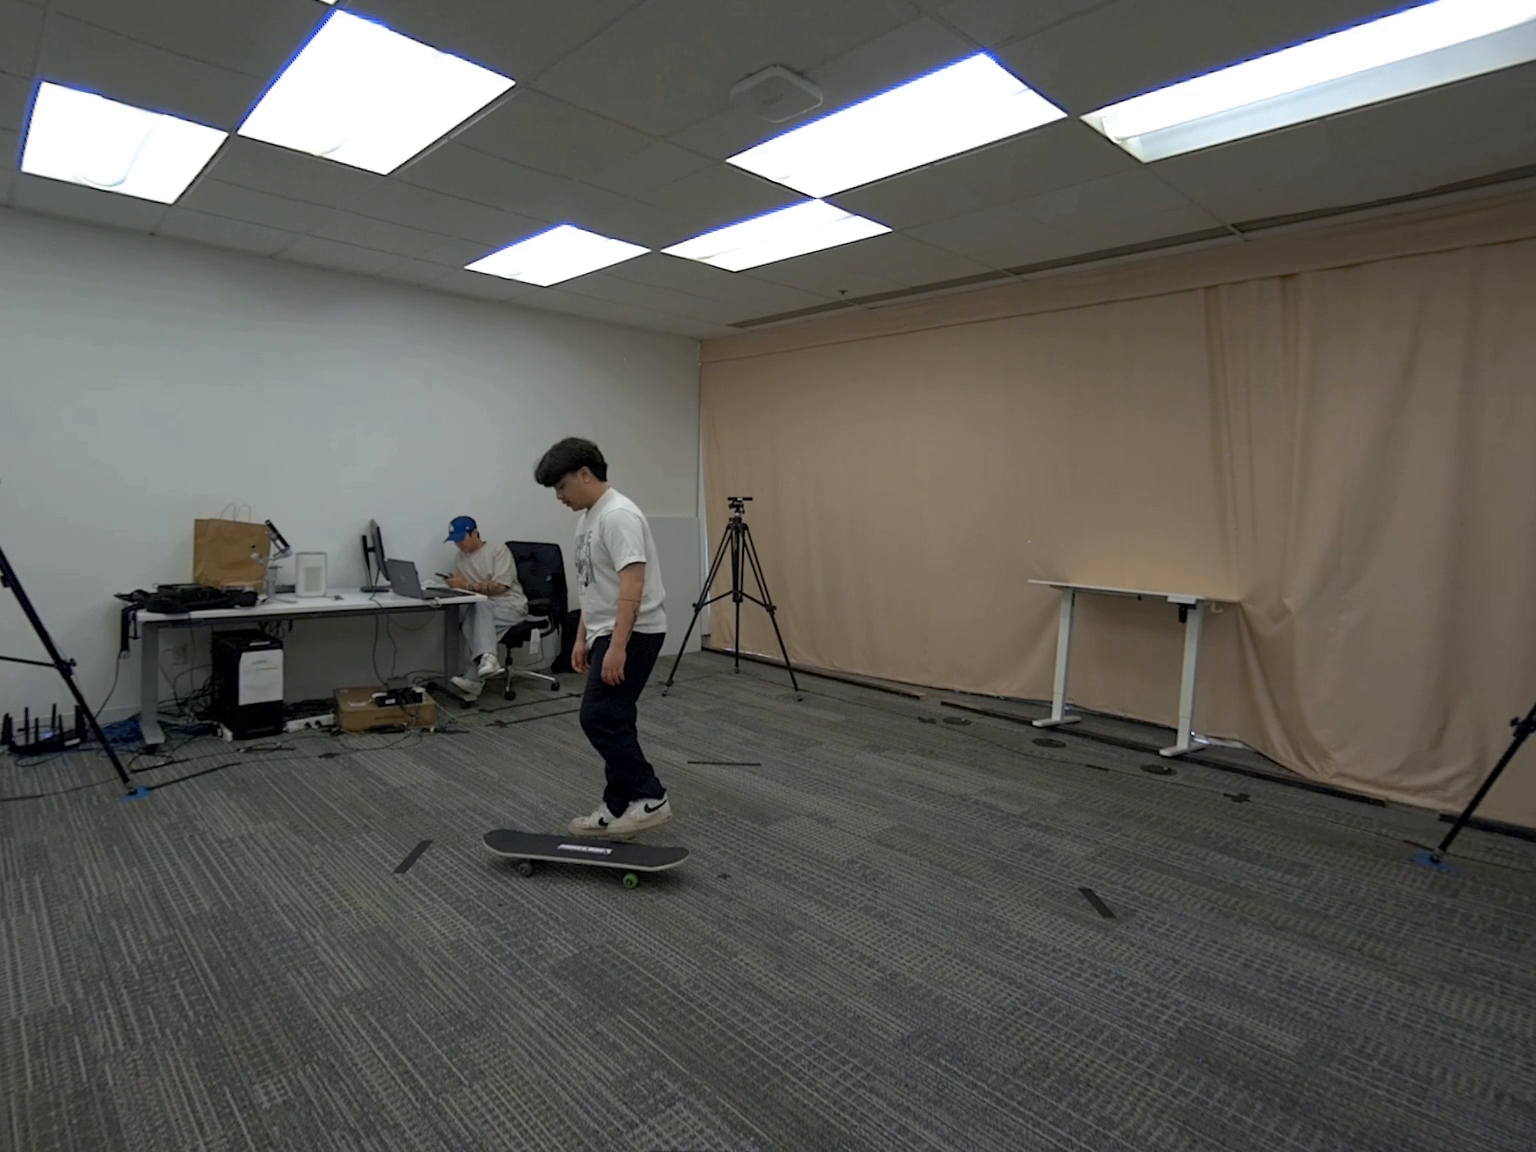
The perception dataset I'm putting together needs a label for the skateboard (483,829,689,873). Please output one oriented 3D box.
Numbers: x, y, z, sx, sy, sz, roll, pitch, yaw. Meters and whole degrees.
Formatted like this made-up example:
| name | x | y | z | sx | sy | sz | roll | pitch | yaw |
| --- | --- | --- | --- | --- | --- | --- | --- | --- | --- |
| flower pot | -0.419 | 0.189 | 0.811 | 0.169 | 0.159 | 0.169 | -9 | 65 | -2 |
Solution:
| name | x | y | z | sx | sy | sz | roll | pitch | yaw |
| --- | --- | --- | --- | --- | --- | --- | --- | --- | --- |
| skateboard | -0.672 | 1.033 | 3.104 | 0.792 | 0.110 | 0.192 | 2 | 6 | 11 |
